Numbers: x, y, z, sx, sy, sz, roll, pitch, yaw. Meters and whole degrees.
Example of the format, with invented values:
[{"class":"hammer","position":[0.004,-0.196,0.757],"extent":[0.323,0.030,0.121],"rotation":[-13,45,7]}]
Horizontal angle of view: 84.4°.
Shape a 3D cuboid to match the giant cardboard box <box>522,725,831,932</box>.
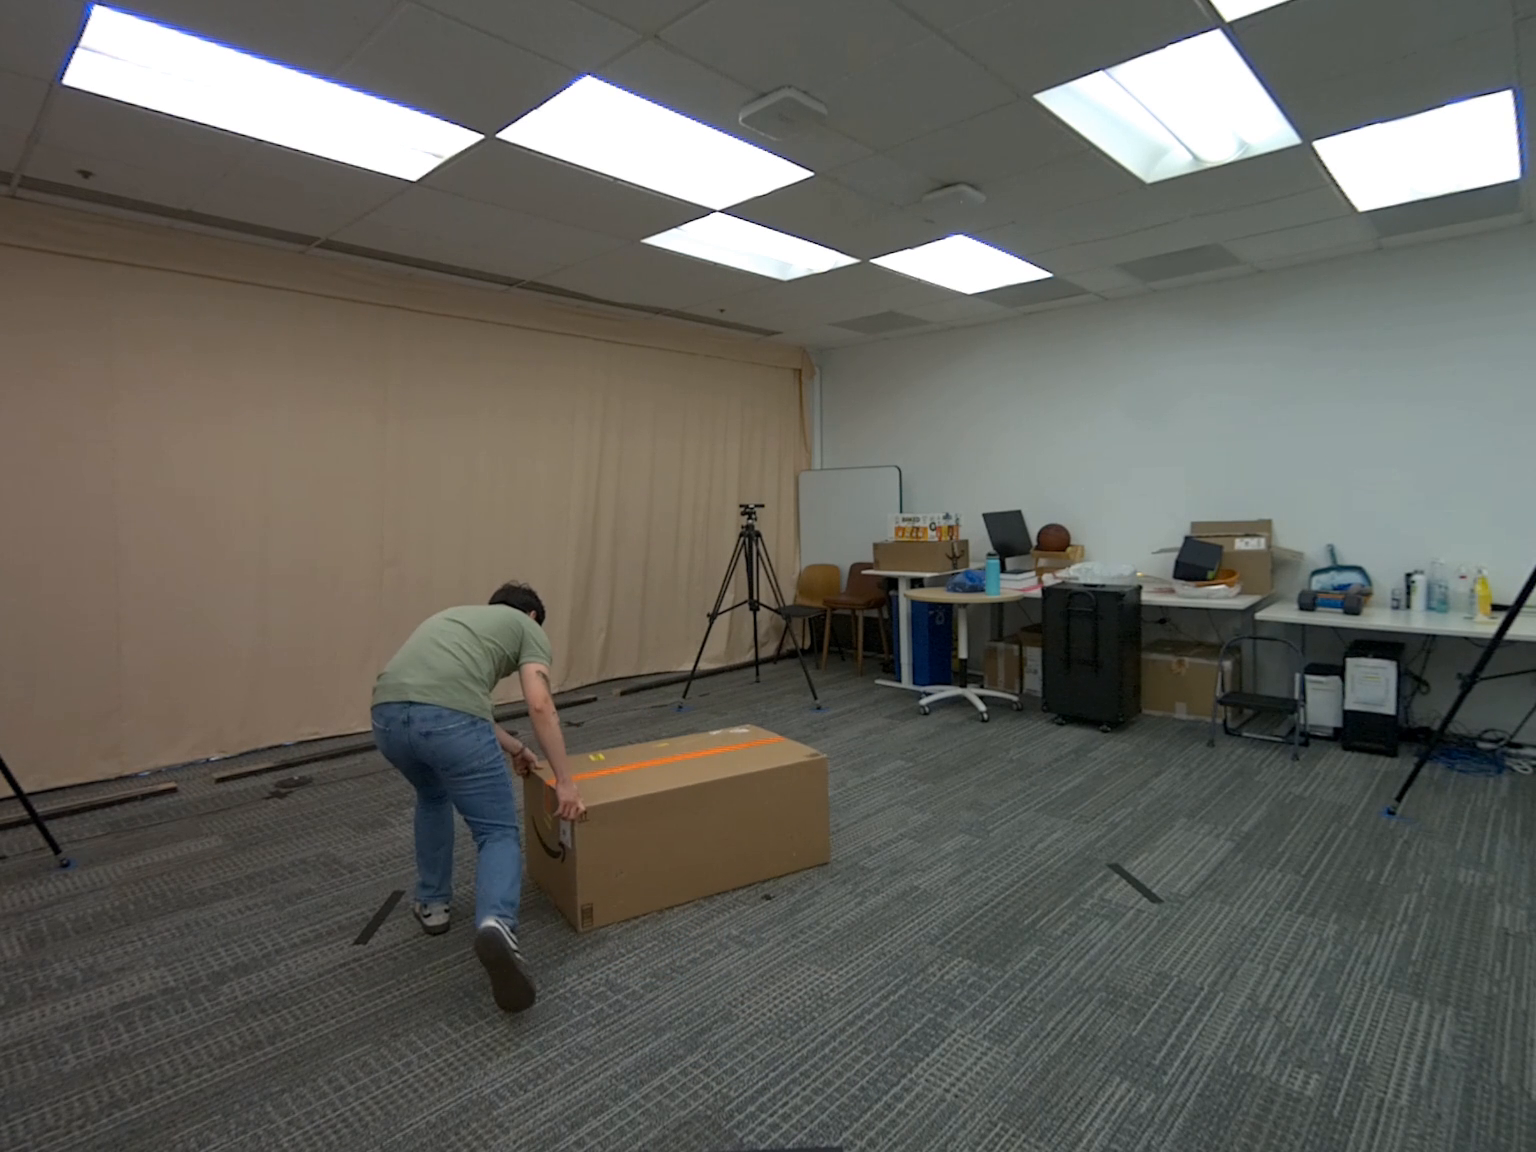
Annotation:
[{"class":"giant cardboard box","position":[-0.347,0.913,3.240],"extent":[0.999,0.425,0.594],"rotation":[-4,5,-30]}]
